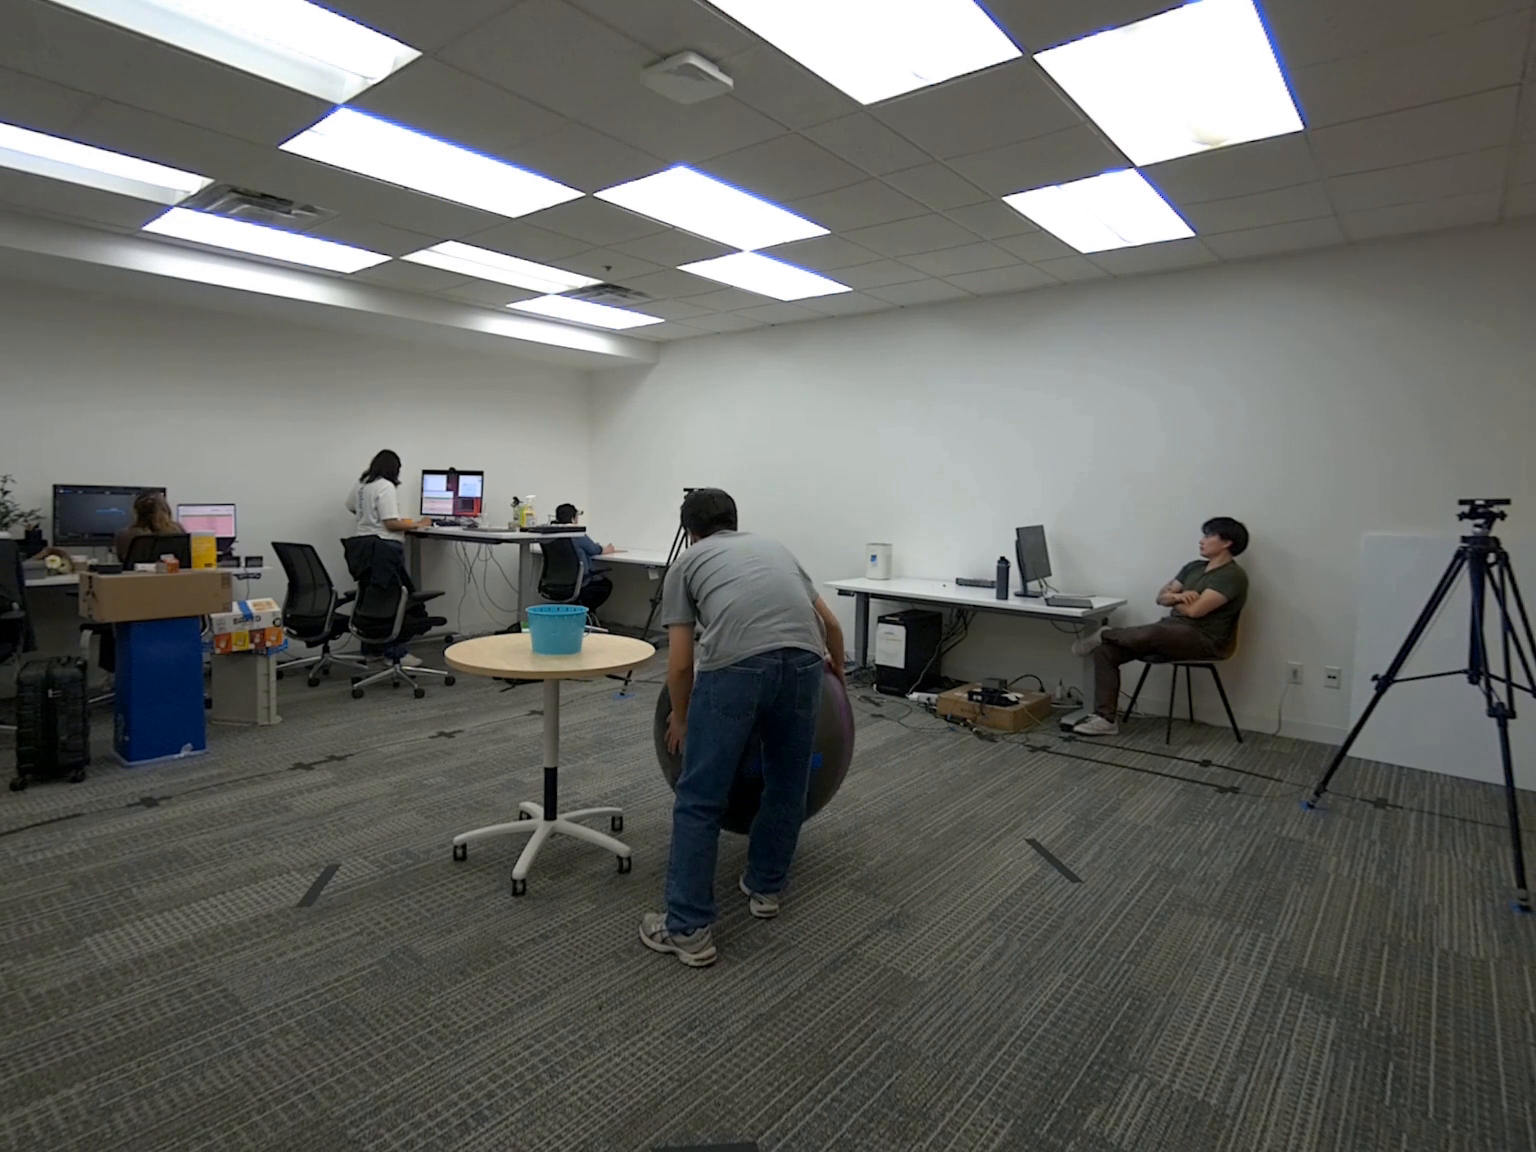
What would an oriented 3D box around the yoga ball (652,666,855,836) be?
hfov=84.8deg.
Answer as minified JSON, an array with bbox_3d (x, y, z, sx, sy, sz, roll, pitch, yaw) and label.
[{"bbox_3d":[-0.063,0.568,3.228,0.757,0.755,0.762,1,4,-2],"label":"yoga ball"}]
